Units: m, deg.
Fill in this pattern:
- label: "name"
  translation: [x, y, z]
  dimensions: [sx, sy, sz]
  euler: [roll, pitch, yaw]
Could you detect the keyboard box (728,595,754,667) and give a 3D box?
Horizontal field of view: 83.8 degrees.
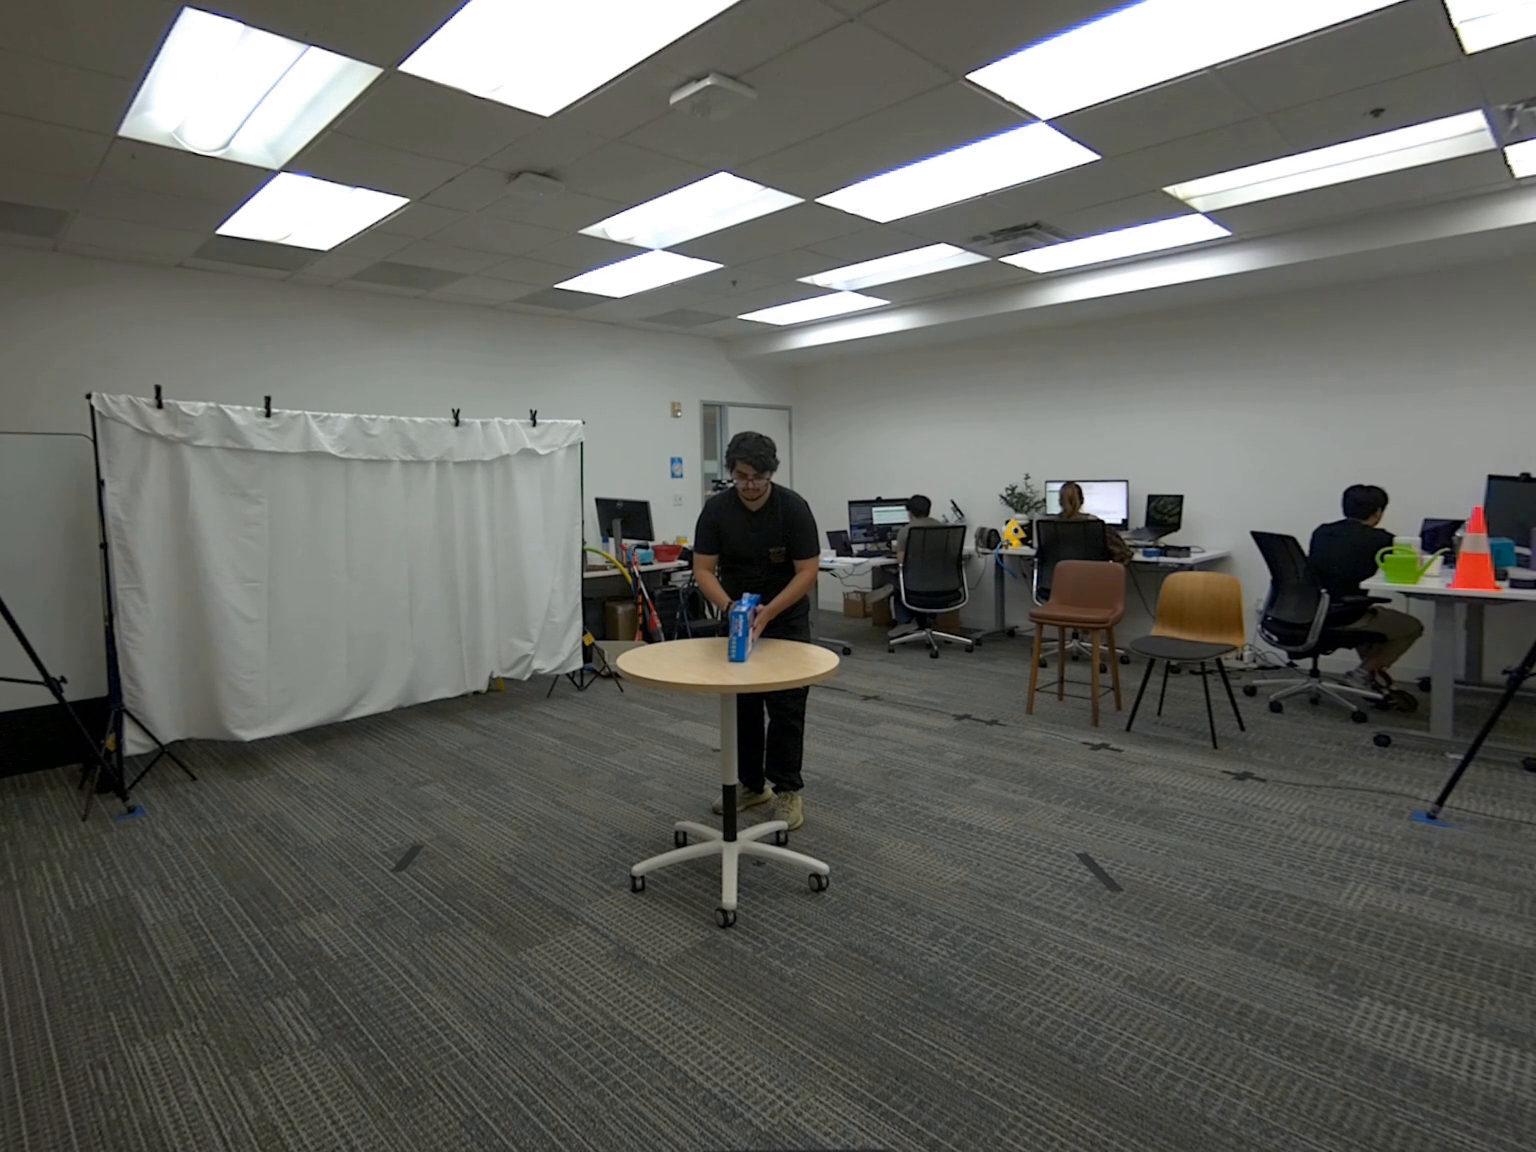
- label: "keyboard box"
  translation: [-0.096, 0.188, 3.085]
  dimensions: [0.059, 0.175, 0.437]
  euler: [1, 6, 2]
